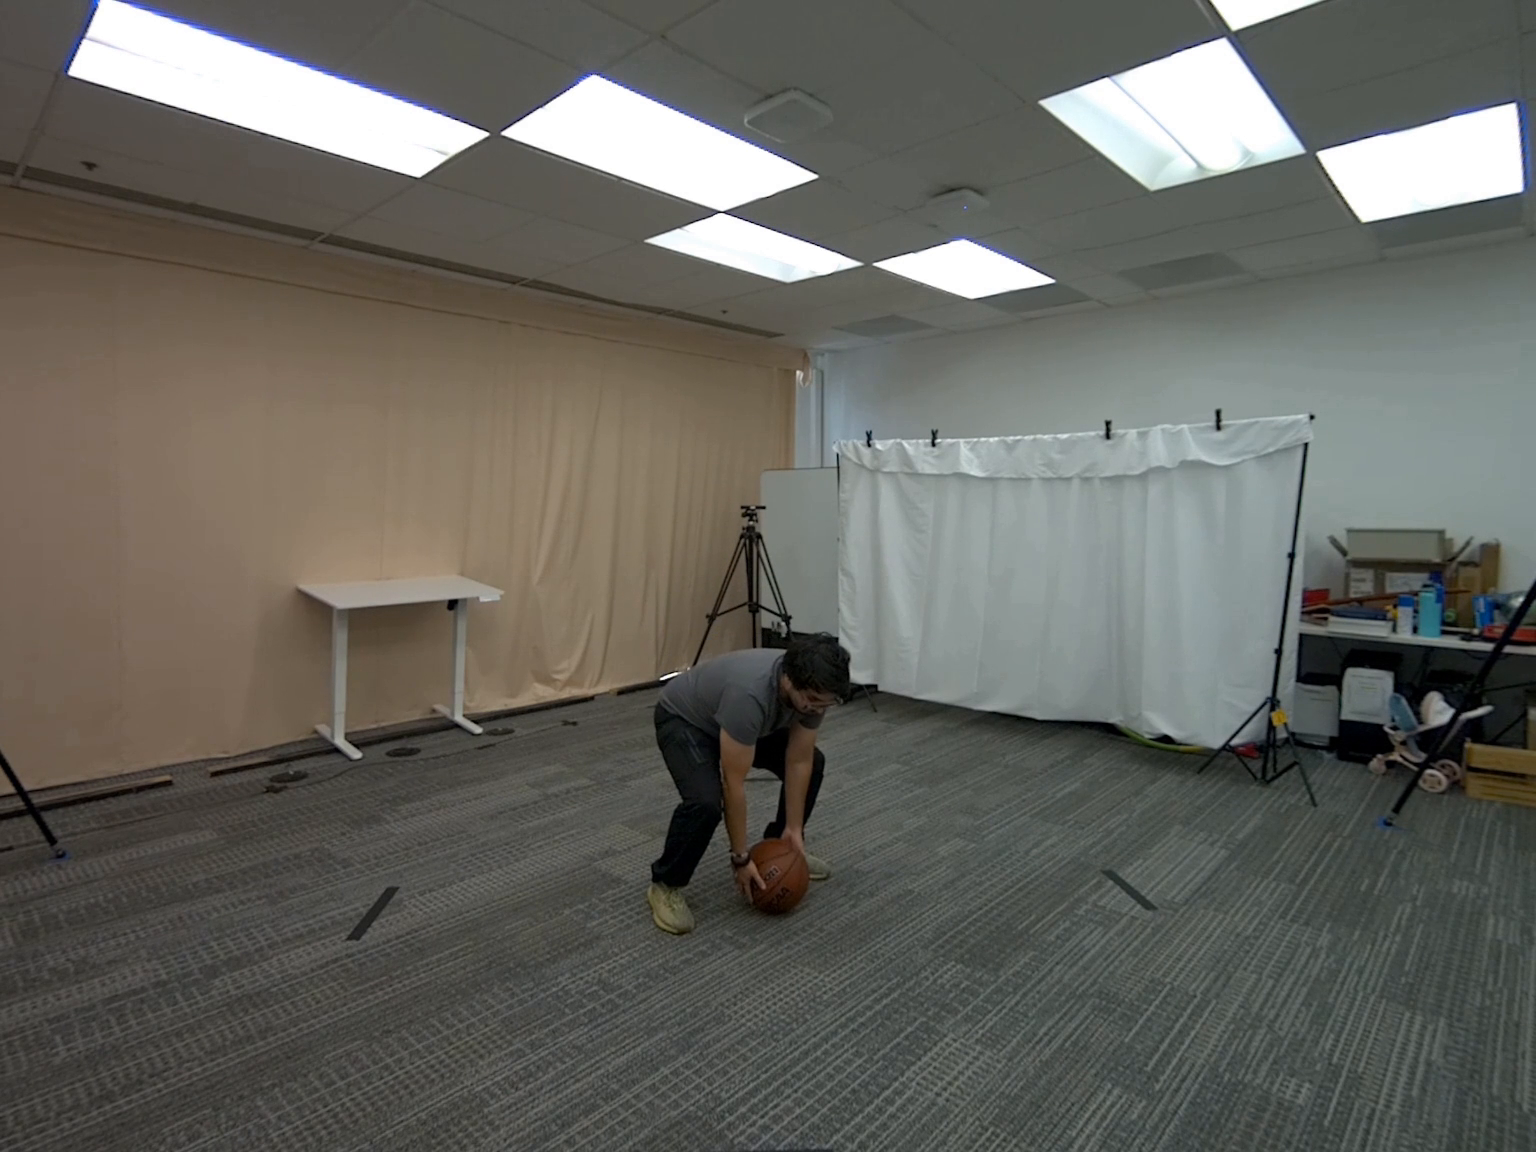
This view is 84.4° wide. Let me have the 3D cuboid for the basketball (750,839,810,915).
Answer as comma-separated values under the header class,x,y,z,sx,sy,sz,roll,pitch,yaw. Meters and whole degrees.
class,x,y,z,sx,sy,sz,roll,pitch,yaw
basketball,0.022,1.027,2.904,0.236,0.235,0.237,0,4,-2
